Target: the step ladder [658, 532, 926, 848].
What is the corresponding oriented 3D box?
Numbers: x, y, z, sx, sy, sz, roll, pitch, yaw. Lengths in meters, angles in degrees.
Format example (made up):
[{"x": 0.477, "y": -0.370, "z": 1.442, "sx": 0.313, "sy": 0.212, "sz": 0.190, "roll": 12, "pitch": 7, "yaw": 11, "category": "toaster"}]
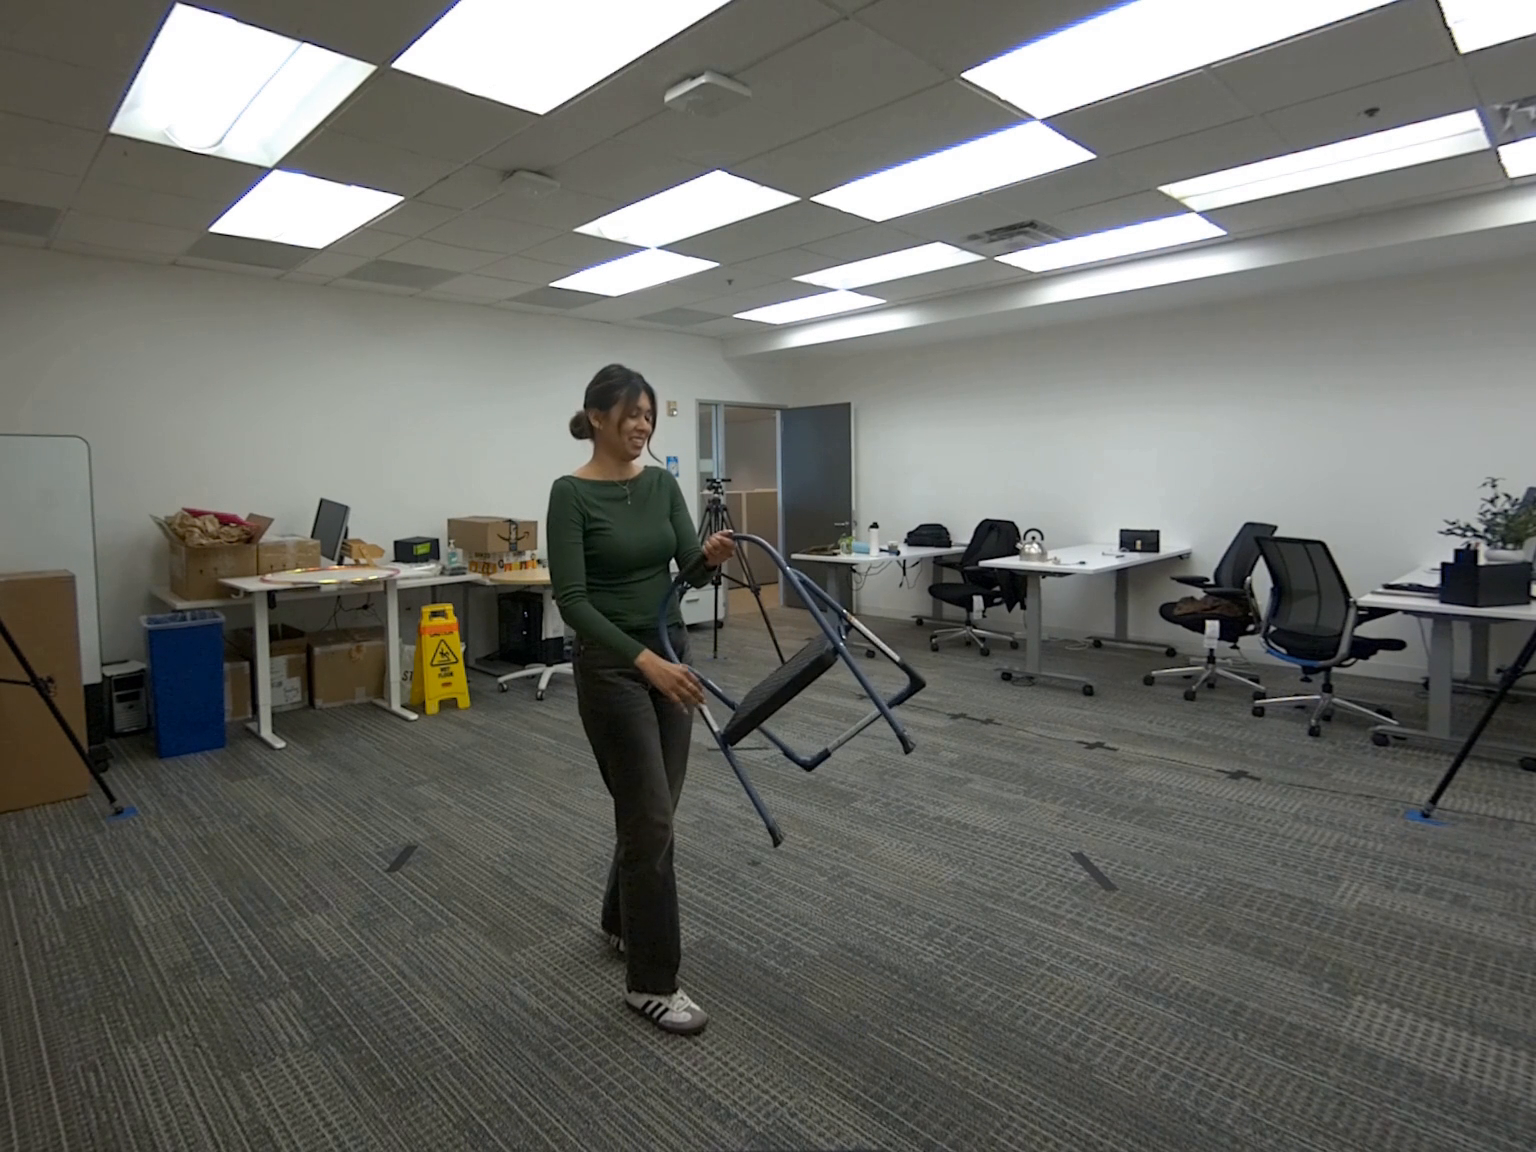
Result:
[{"x": -0.001, "y": 0.208, "z": 2.021, "sx": 0.431, "sy": 0.607, "sz": 0.348, "roll": -42, "pitch": -1, "yaw": 22, "category": "step ladder"}]
